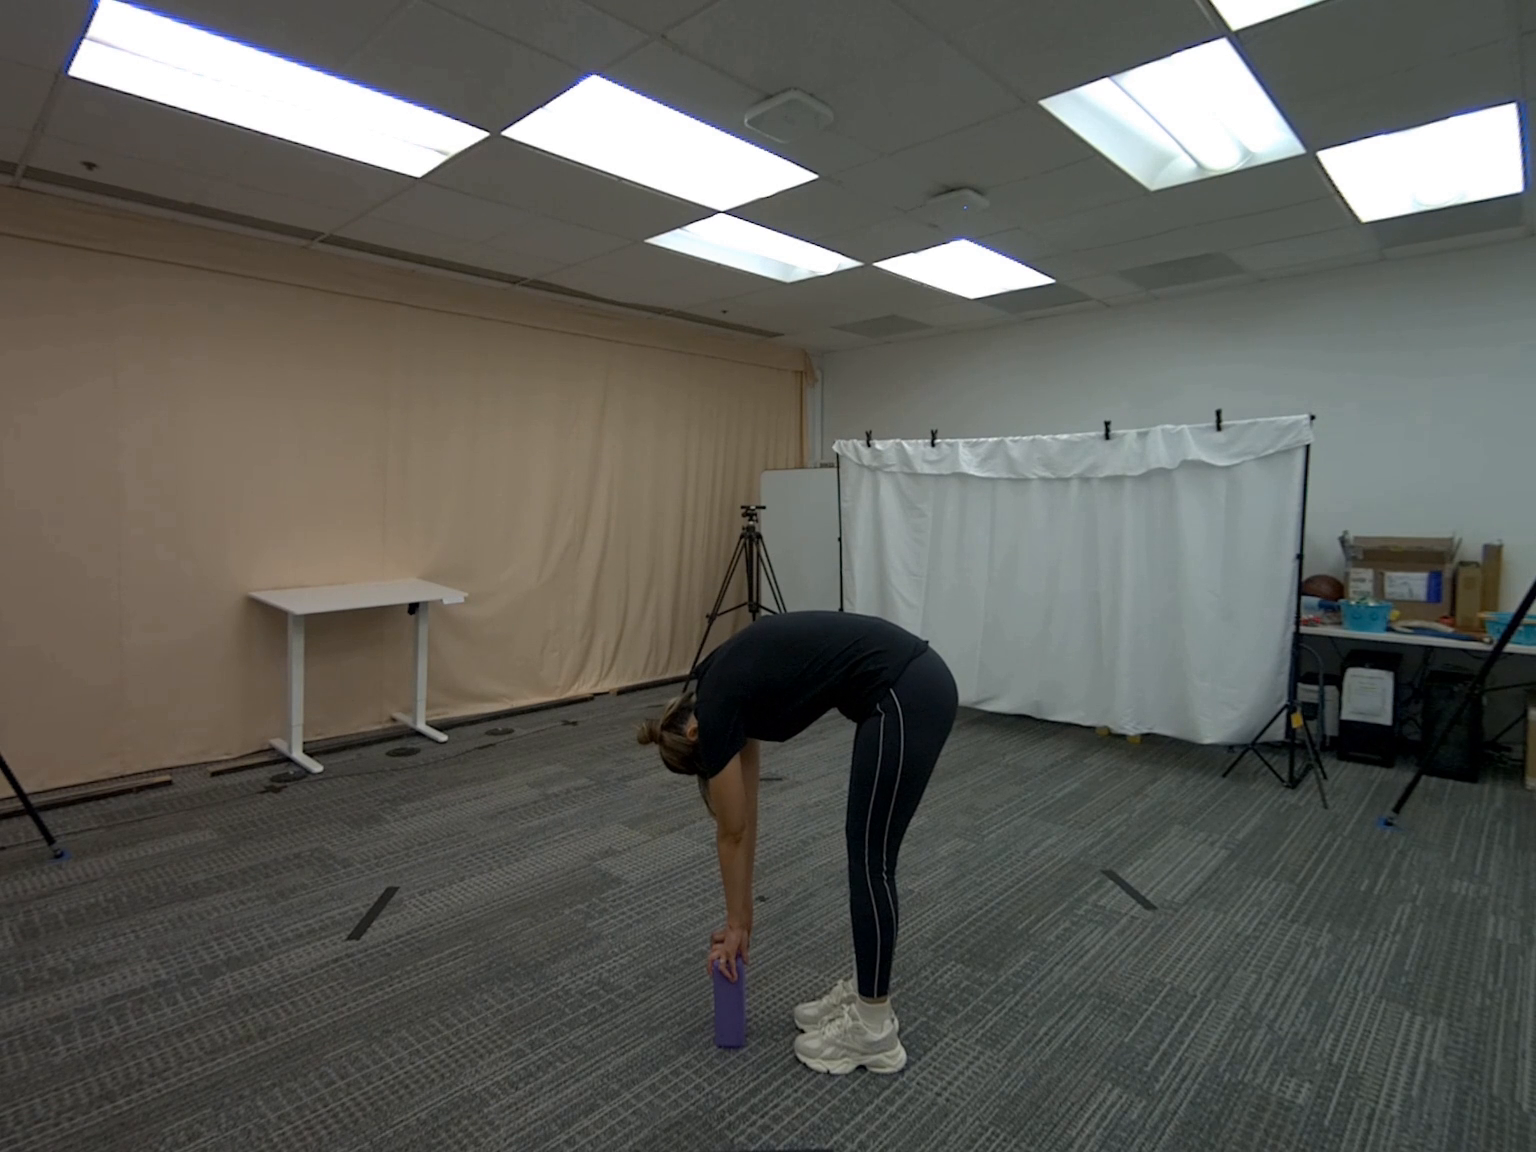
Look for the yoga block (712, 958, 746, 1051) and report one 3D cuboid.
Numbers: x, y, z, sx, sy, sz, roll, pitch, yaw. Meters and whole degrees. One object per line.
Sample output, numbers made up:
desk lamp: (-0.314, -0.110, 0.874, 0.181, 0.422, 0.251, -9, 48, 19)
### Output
yoga block: (-0.099, 1.101, 2.221, 0.076, 0.229, 0.149, 1, 2, -1)
